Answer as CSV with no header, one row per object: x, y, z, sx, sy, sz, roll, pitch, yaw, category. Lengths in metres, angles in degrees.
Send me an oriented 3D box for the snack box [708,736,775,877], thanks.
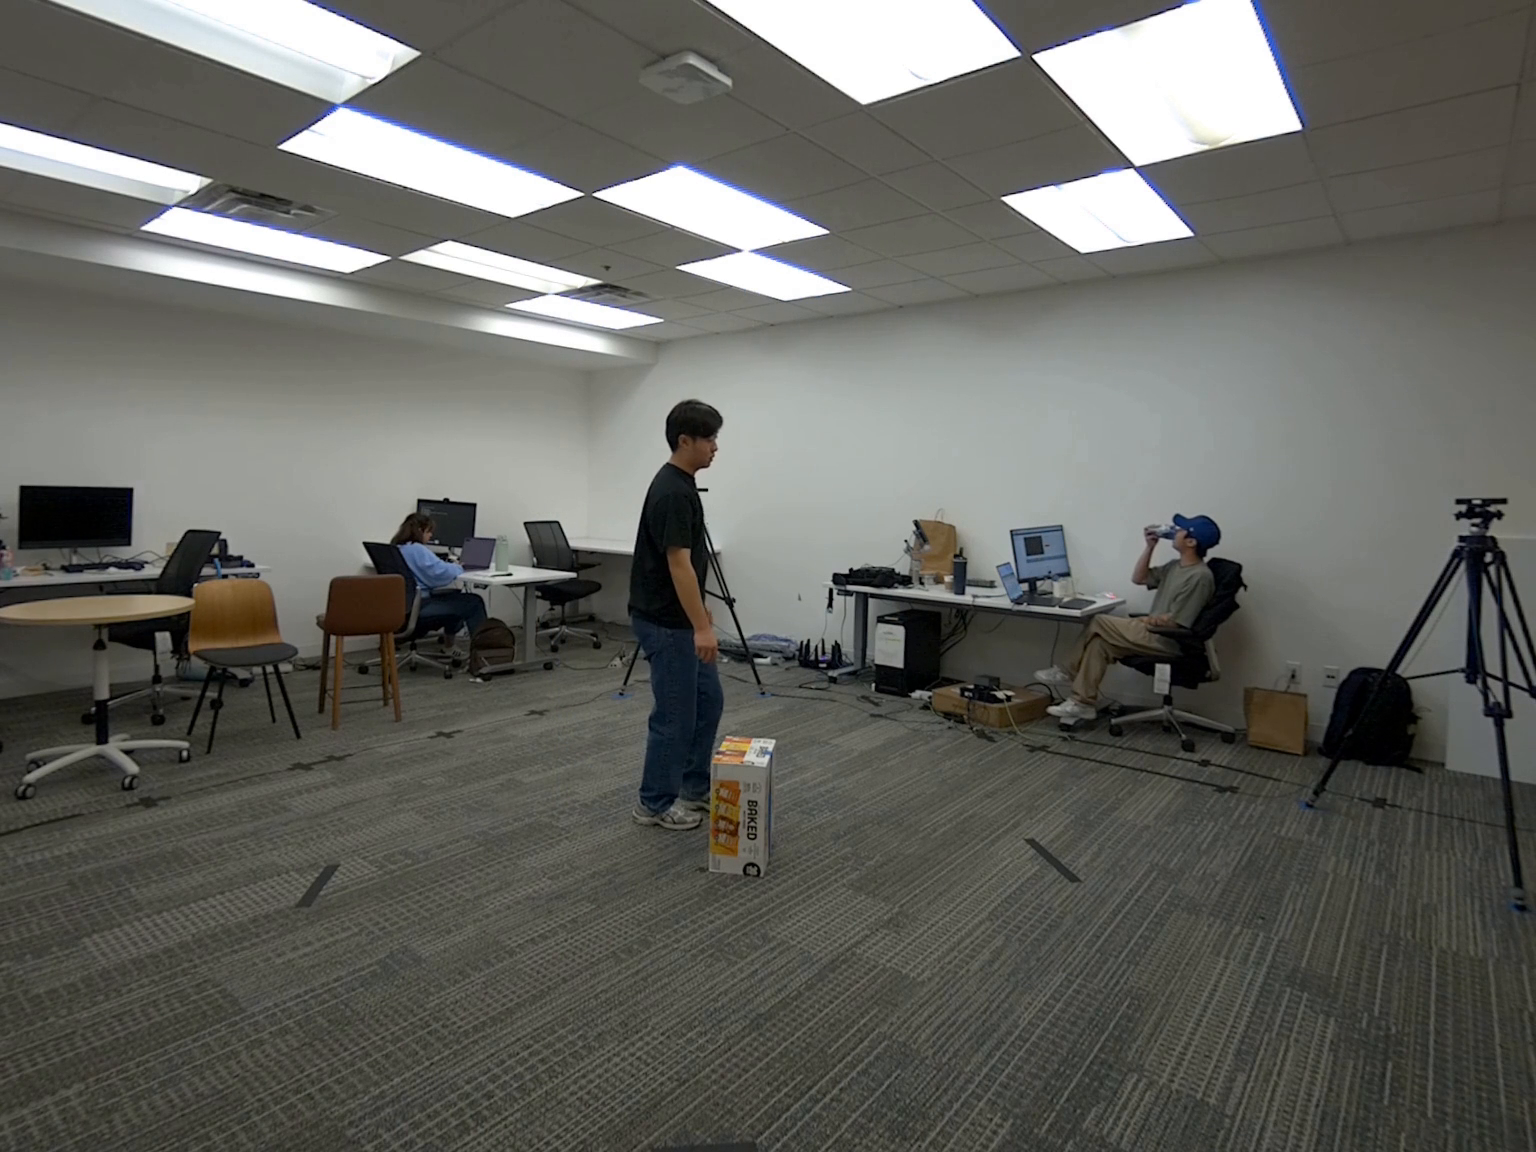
-0.103,0.856,3.225,0.208,0.404,0.338,2,4,8,snack box
